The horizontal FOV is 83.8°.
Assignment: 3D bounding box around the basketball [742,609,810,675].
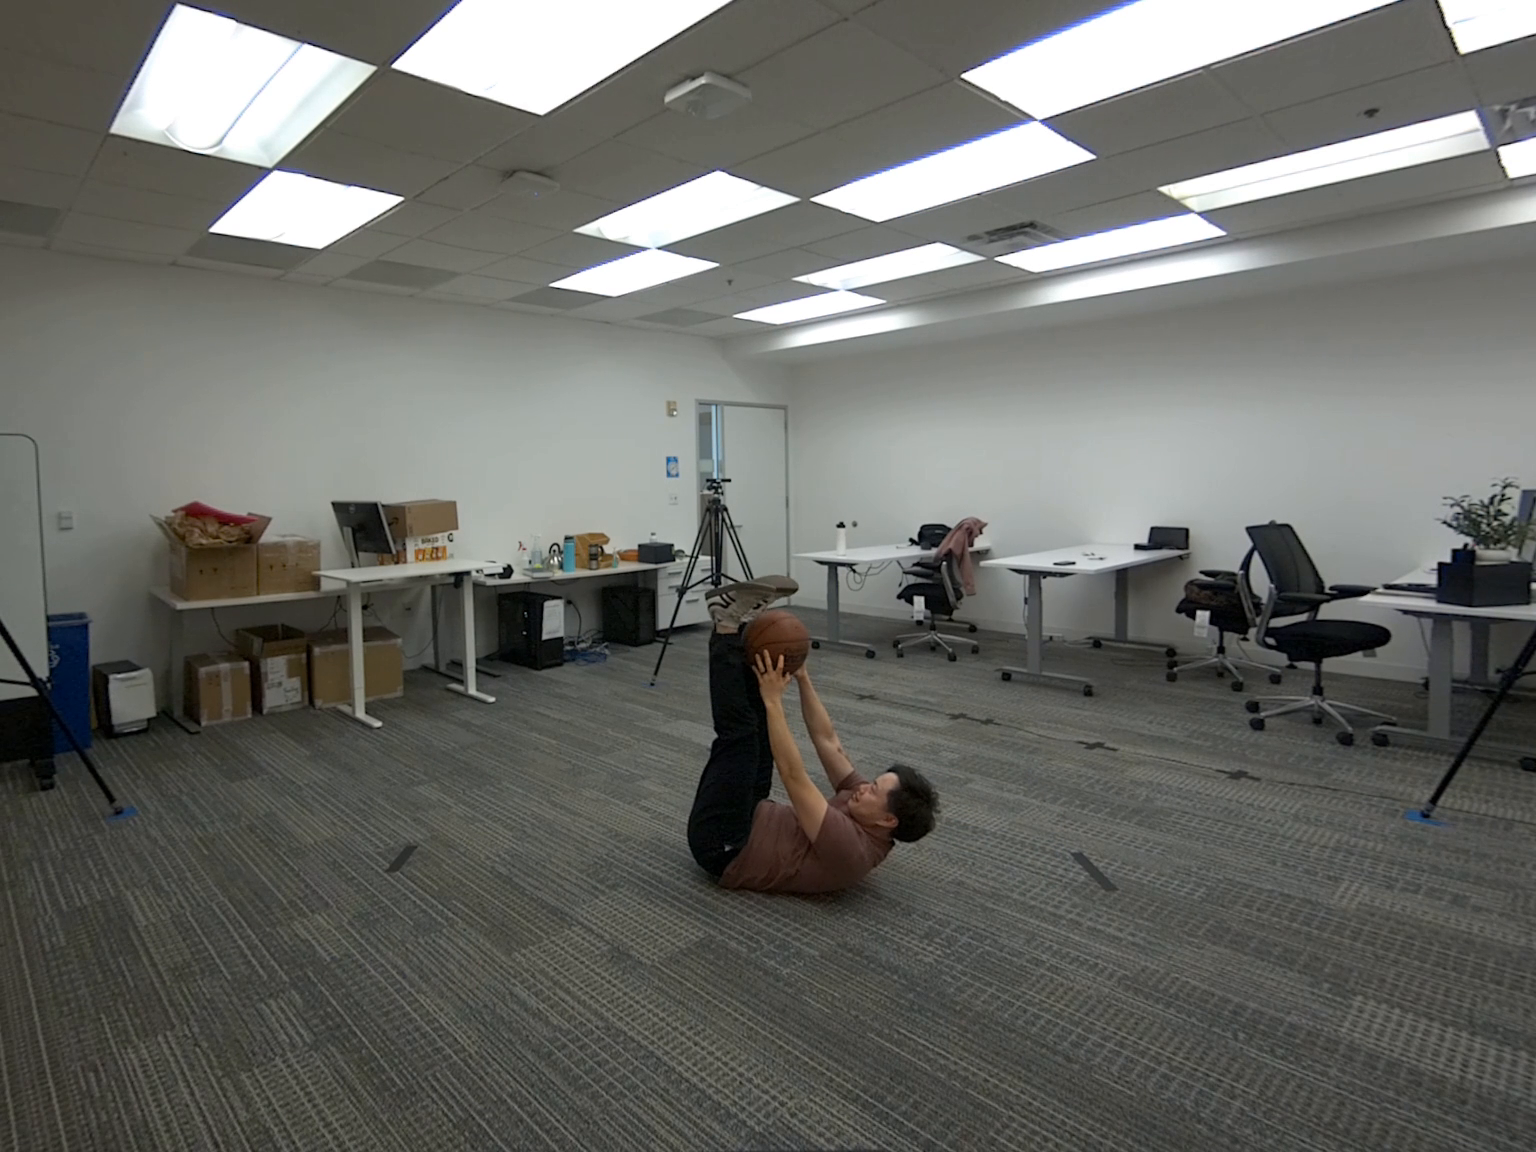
[{"bbox_3d":[0.023,0.236,2.956,0.236,0.236,0.236,0,1,-2],"label":"basketball"}]
